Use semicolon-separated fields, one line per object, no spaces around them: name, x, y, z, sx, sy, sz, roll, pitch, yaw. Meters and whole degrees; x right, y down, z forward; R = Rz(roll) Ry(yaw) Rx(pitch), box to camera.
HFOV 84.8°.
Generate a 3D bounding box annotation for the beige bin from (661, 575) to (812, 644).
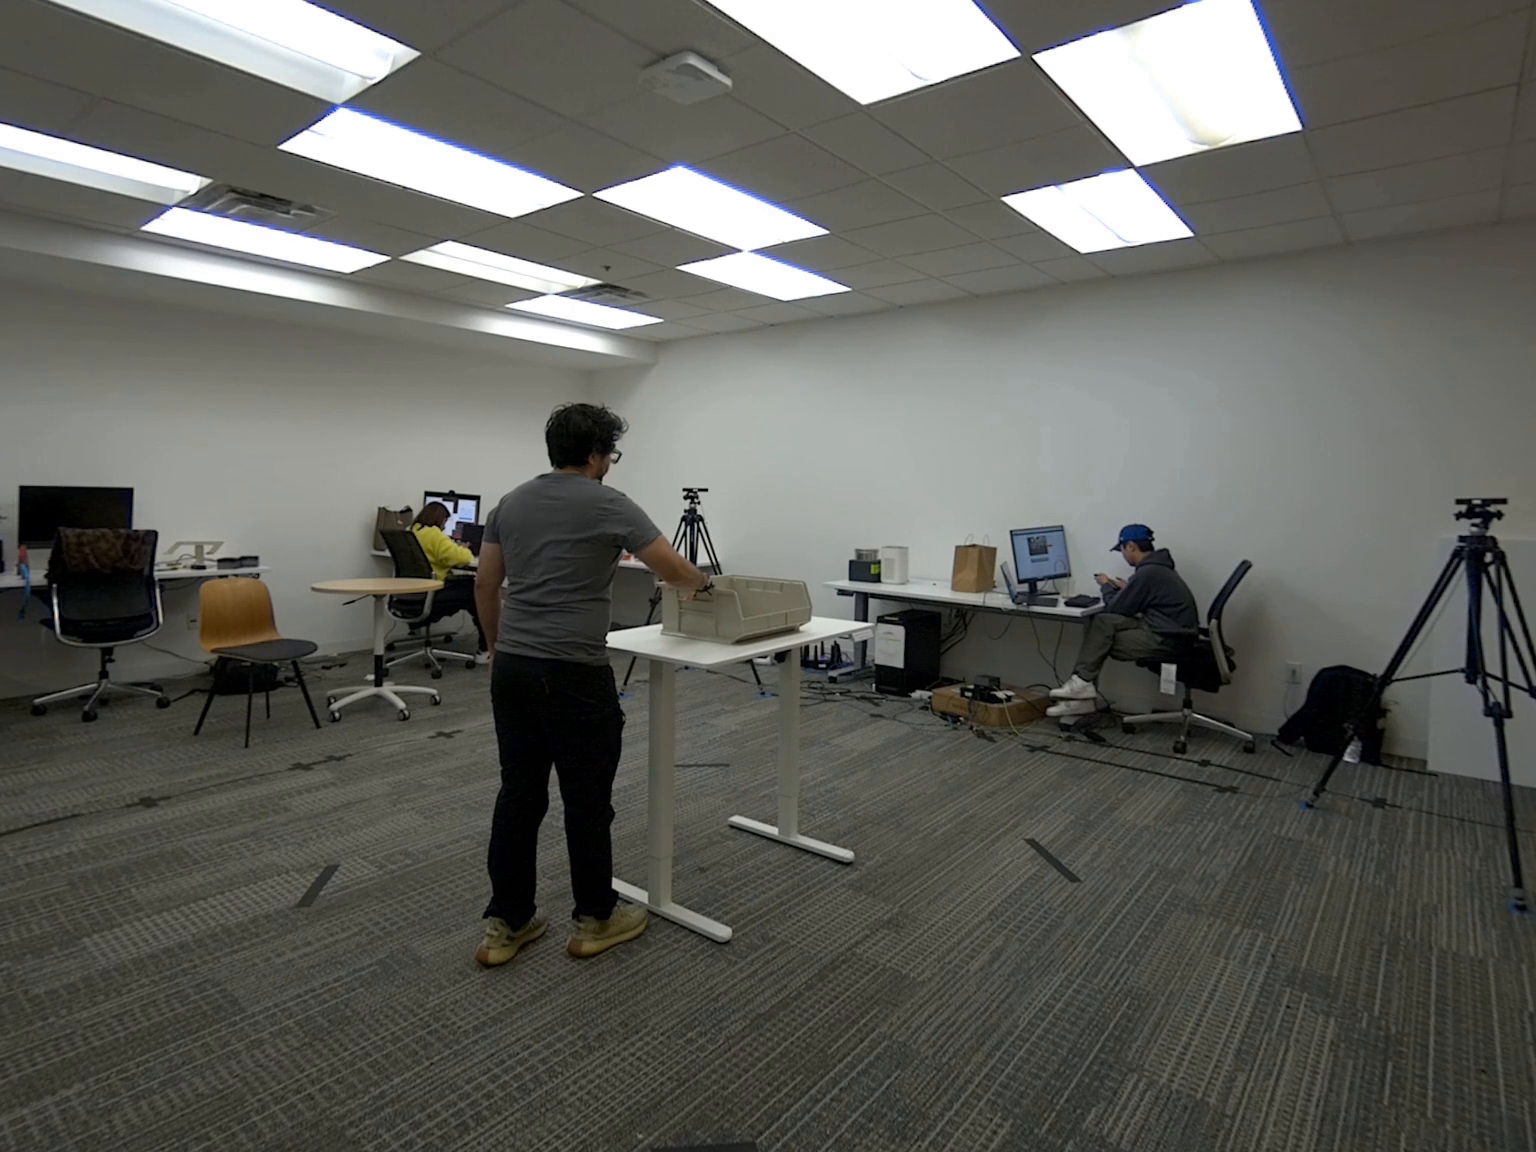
beige bin;-0.120;0.109;3.006;0.389;0.188;0.410;2;6;37
